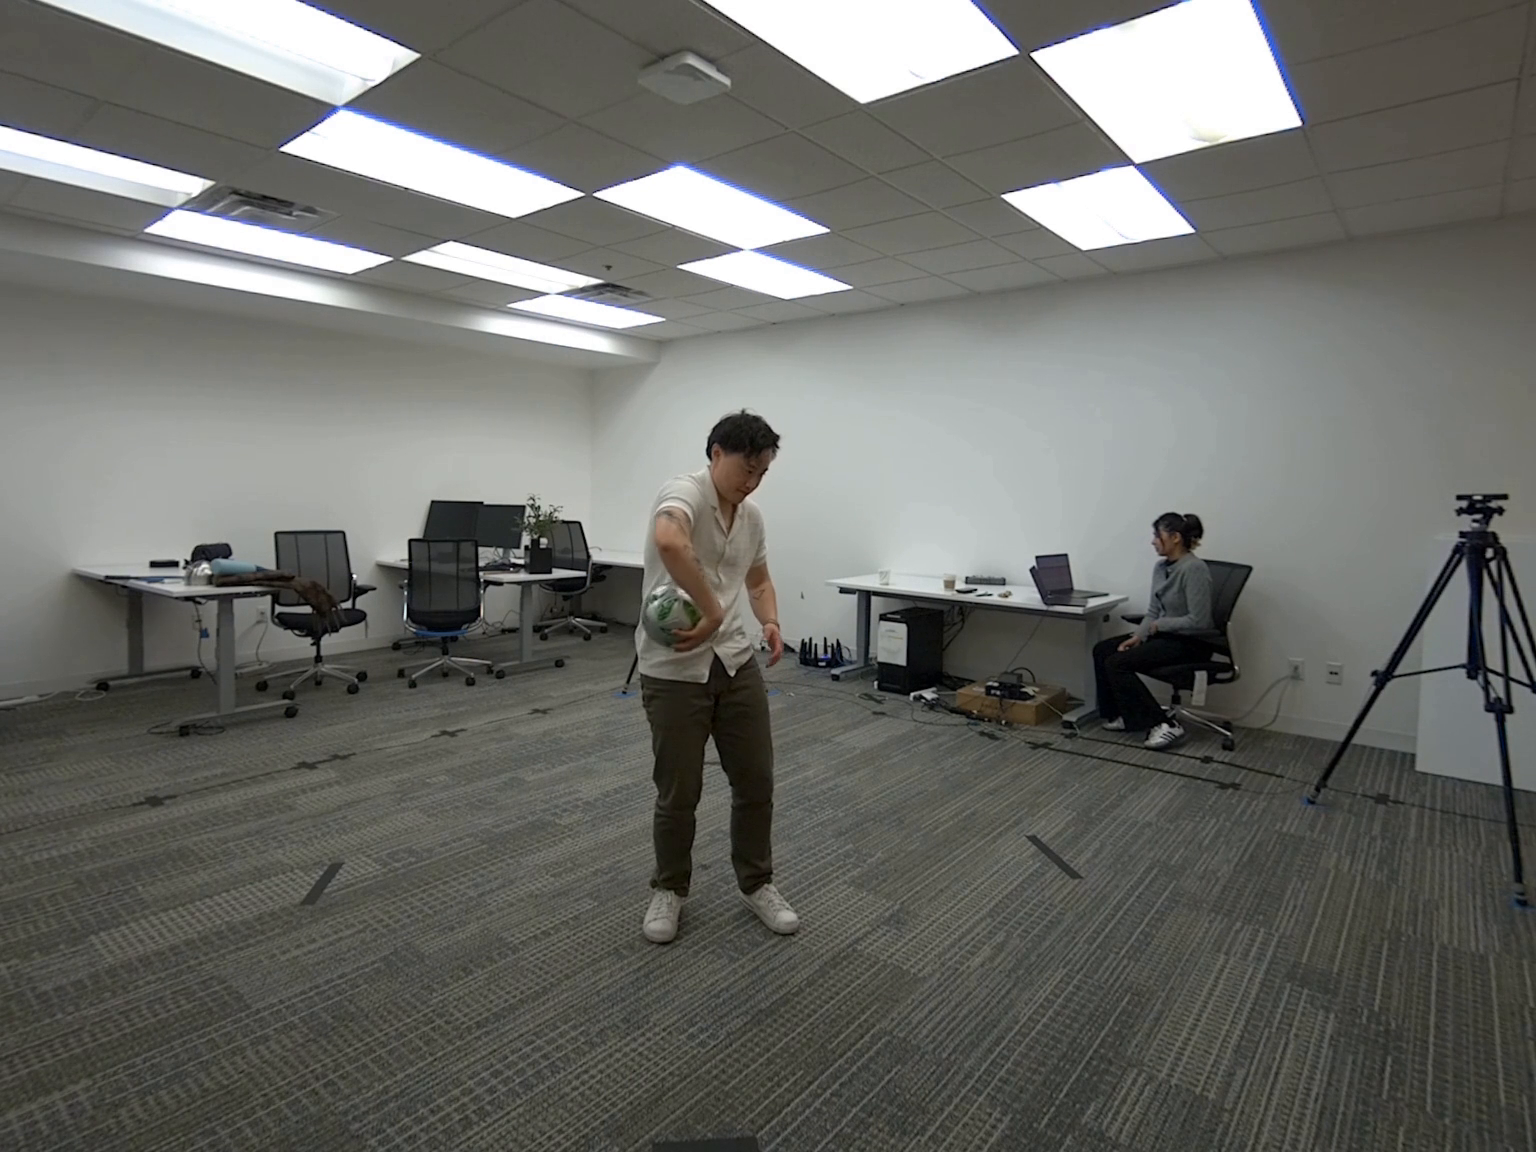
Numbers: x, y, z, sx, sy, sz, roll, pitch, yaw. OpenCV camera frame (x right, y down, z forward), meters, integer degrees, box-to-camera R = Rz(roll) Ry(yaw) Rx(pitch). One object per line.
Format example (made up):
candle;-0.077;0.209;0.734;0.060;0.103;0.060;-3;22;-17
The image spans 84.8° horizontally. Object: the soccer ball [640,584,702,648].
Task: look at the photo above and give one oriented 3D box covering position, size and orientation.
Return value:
soccer ball;-0.274;0.107;2.431;0.187;0.187;0.188;1;4;-2
